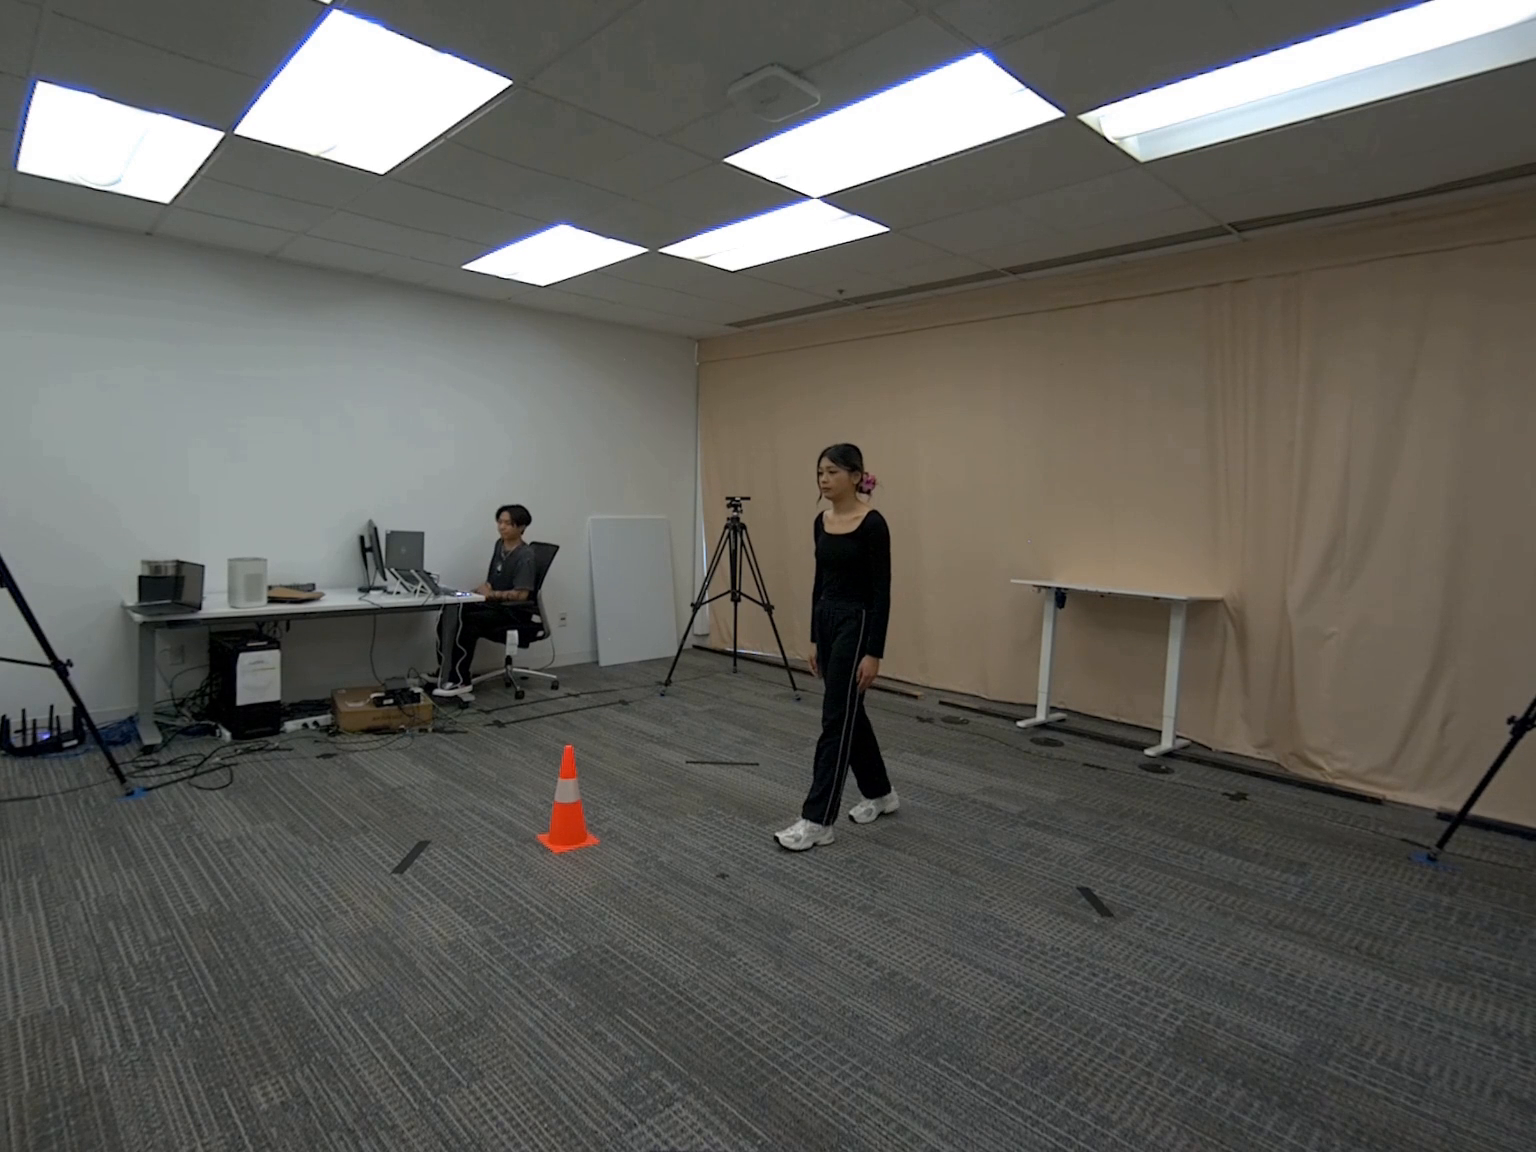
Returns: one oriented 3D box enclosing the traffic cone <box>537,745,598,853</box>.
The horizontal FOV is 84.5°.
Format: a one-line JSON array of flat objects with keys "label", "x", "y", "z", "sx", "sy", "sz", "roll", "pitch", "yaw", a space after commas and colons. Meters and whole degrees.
[{"label": "traffic cone", "x": -0.815, "y": 0.881, "z": 3.398, "sx": 0.200, "sy": 0.383, "sz": 0.208, "roll": -1, "pitch": 4, "yaw": -38}]
